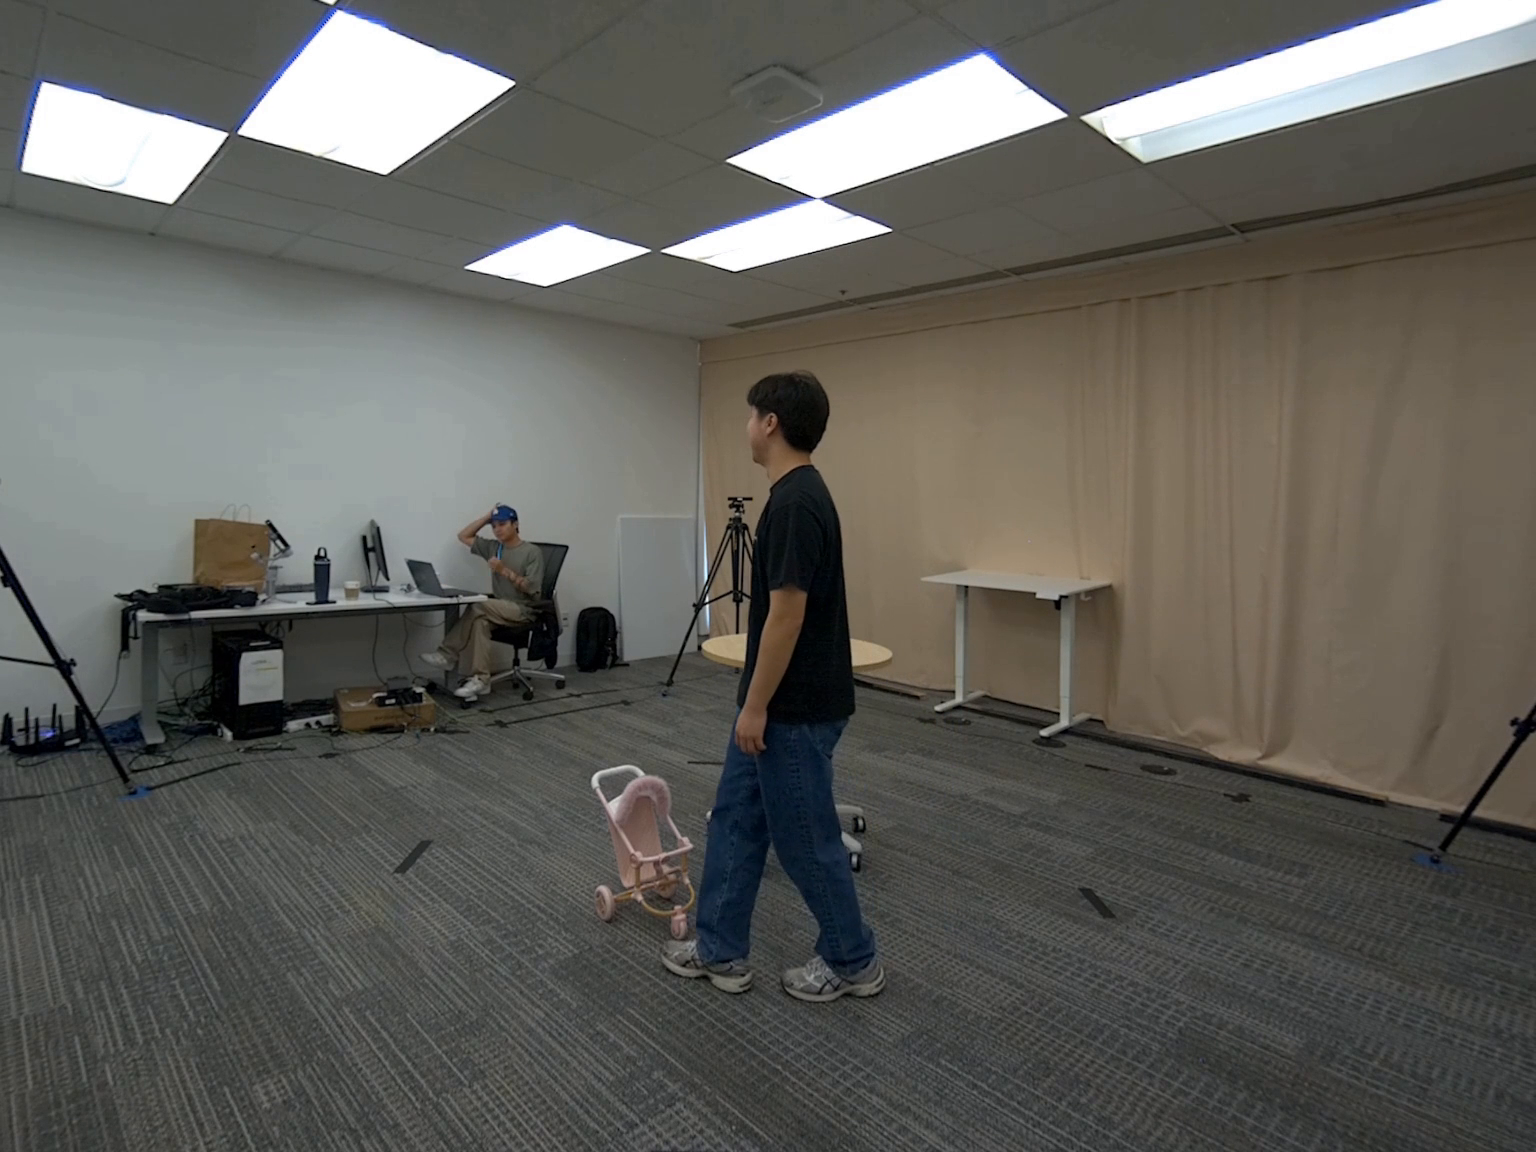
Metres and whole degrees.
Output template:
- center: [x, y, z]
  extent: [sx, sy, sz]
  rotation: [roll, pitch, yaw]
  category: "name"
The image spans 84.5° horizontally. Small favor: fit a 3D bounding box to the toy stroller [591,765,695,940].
- center: [-0.410, 0.907, 2.782]
  extent: [0.275, 0.539, 0.346]
  rotation: [-1, -11, -37]
  category: "toy stroller"
